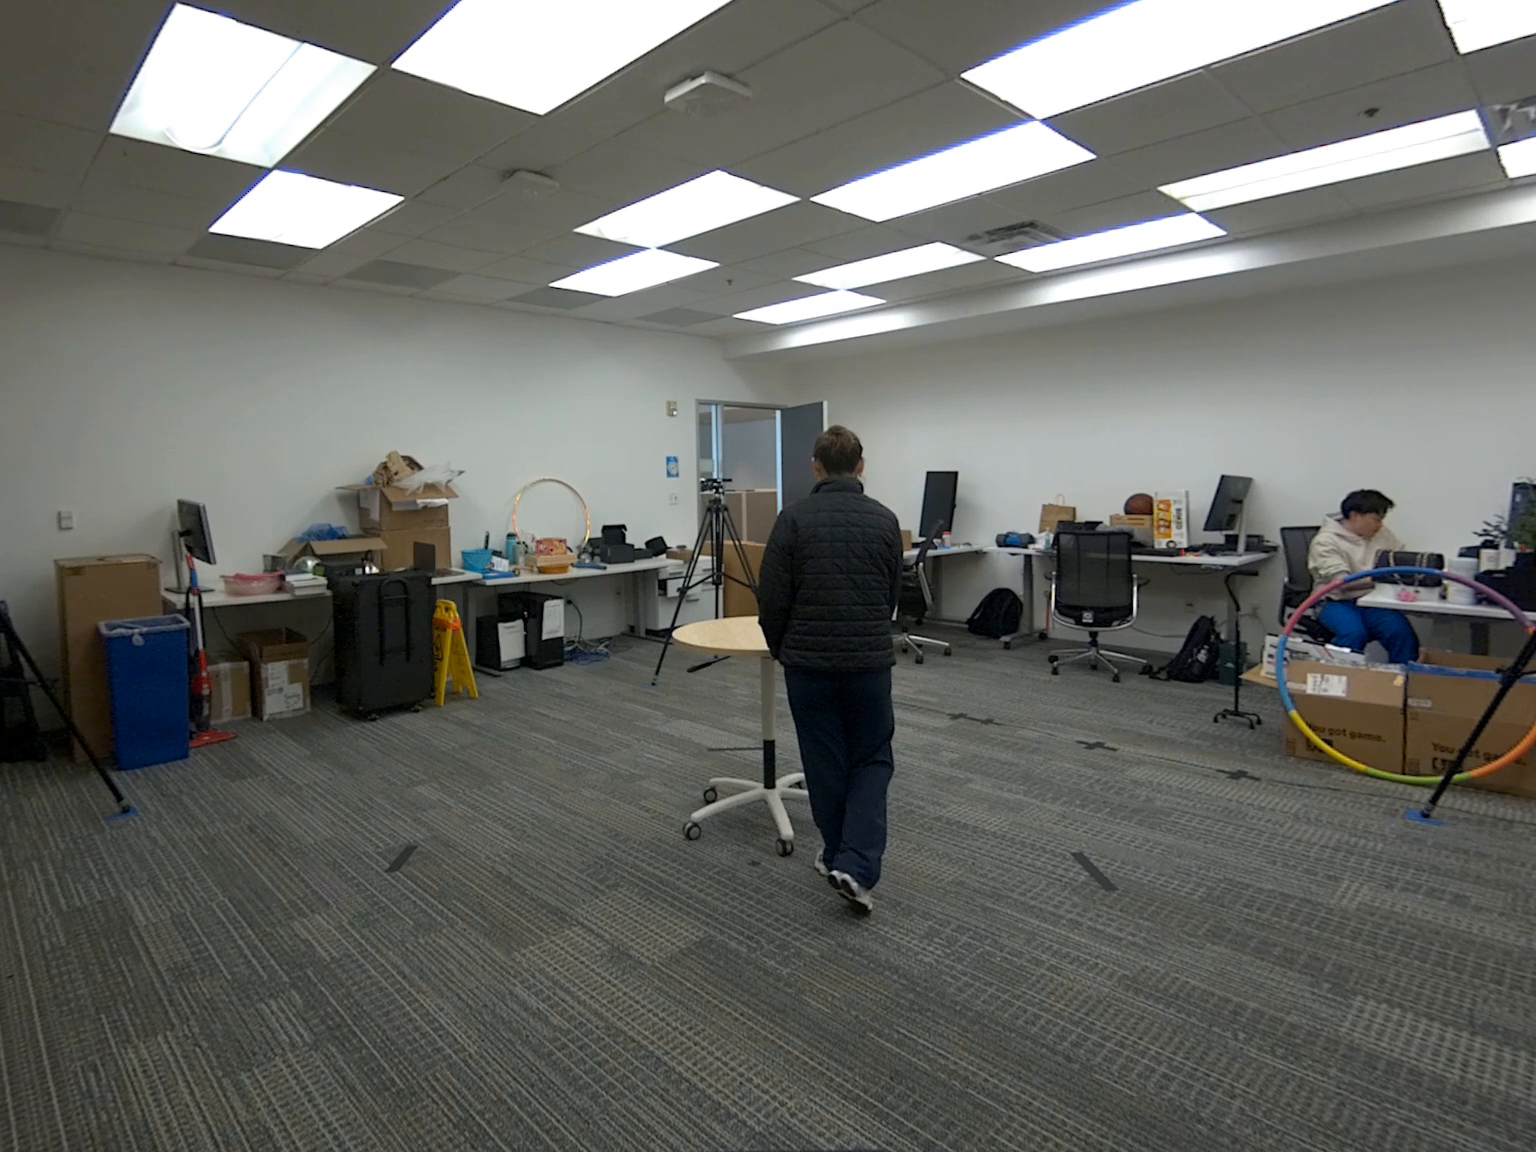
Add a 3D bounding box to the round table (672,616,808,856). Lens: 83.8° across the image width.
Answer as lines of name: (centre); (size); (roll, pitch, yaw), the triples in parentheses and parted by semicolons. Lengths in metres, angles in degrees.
round table: (-0.002, 0.611, 3.463); (0.784, 0.784, 0.789); (-1, 5, -2)
